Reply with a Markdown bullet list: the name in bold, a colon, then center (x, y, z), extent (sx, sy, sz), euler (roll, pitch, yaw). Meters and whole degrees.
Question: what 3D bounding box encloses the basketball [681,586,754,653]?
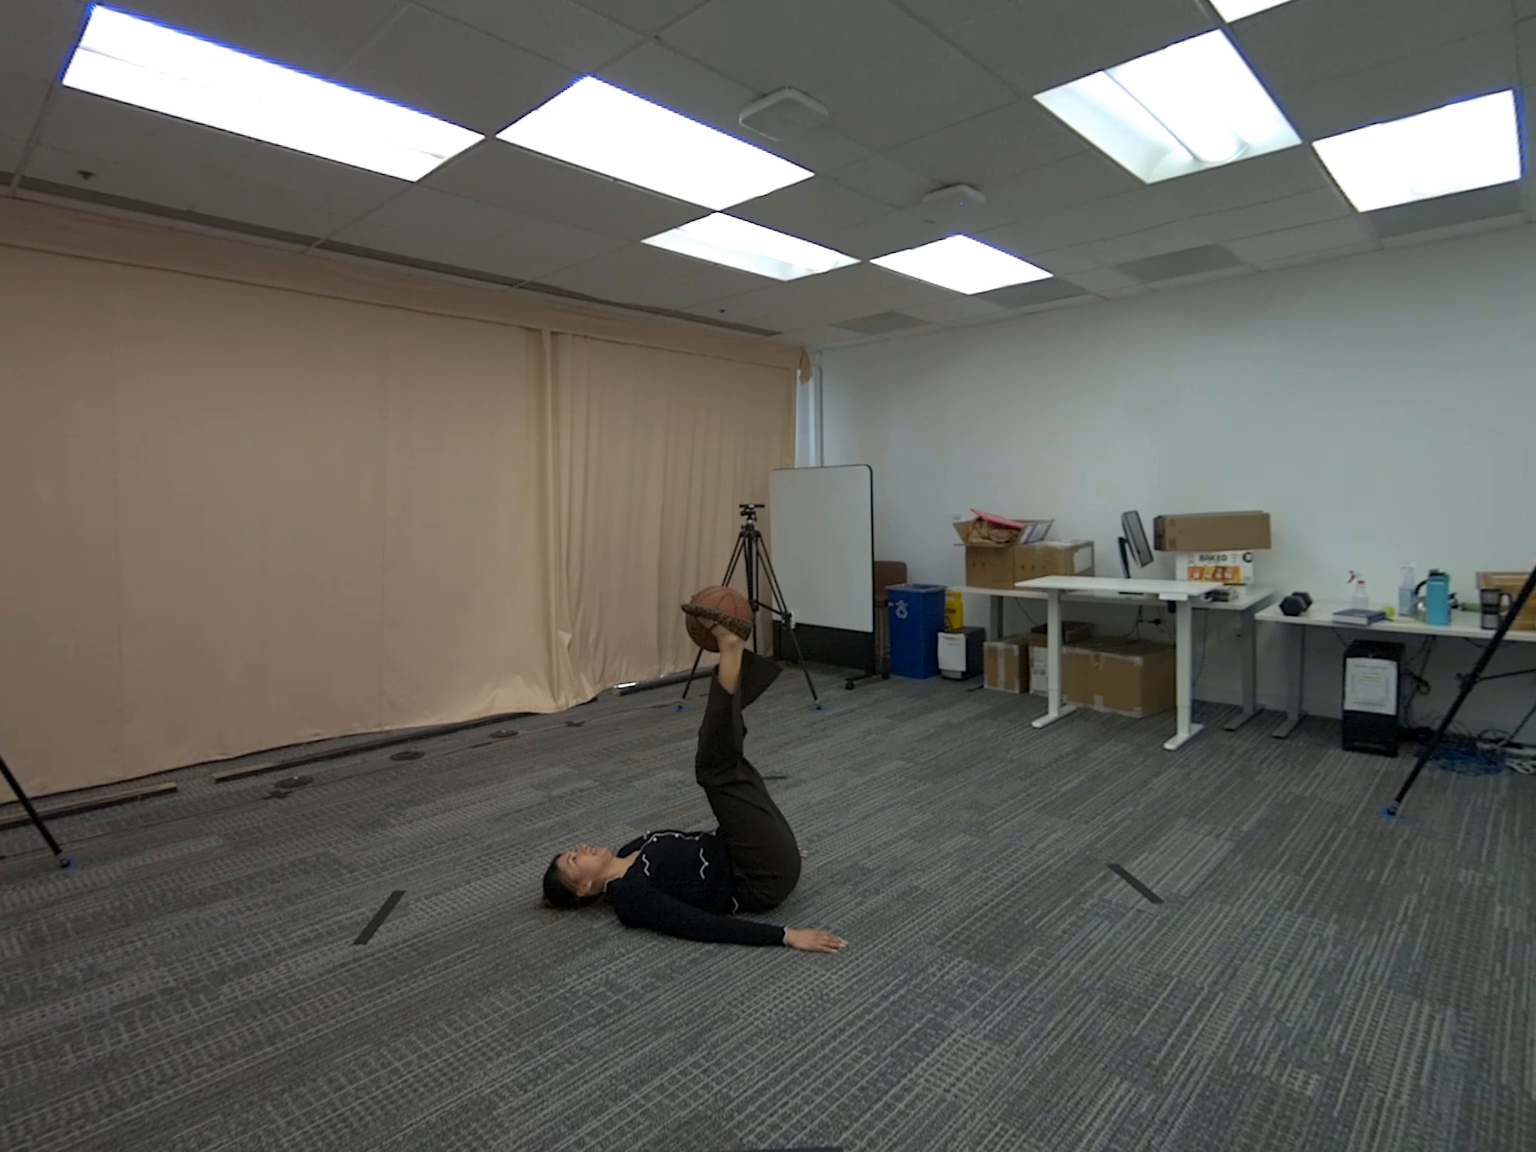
- **basketball**: center (-0.160, 0.144, 2.954), extent (0.236, 0.236, 0.236), euler (0, 1, -2)
